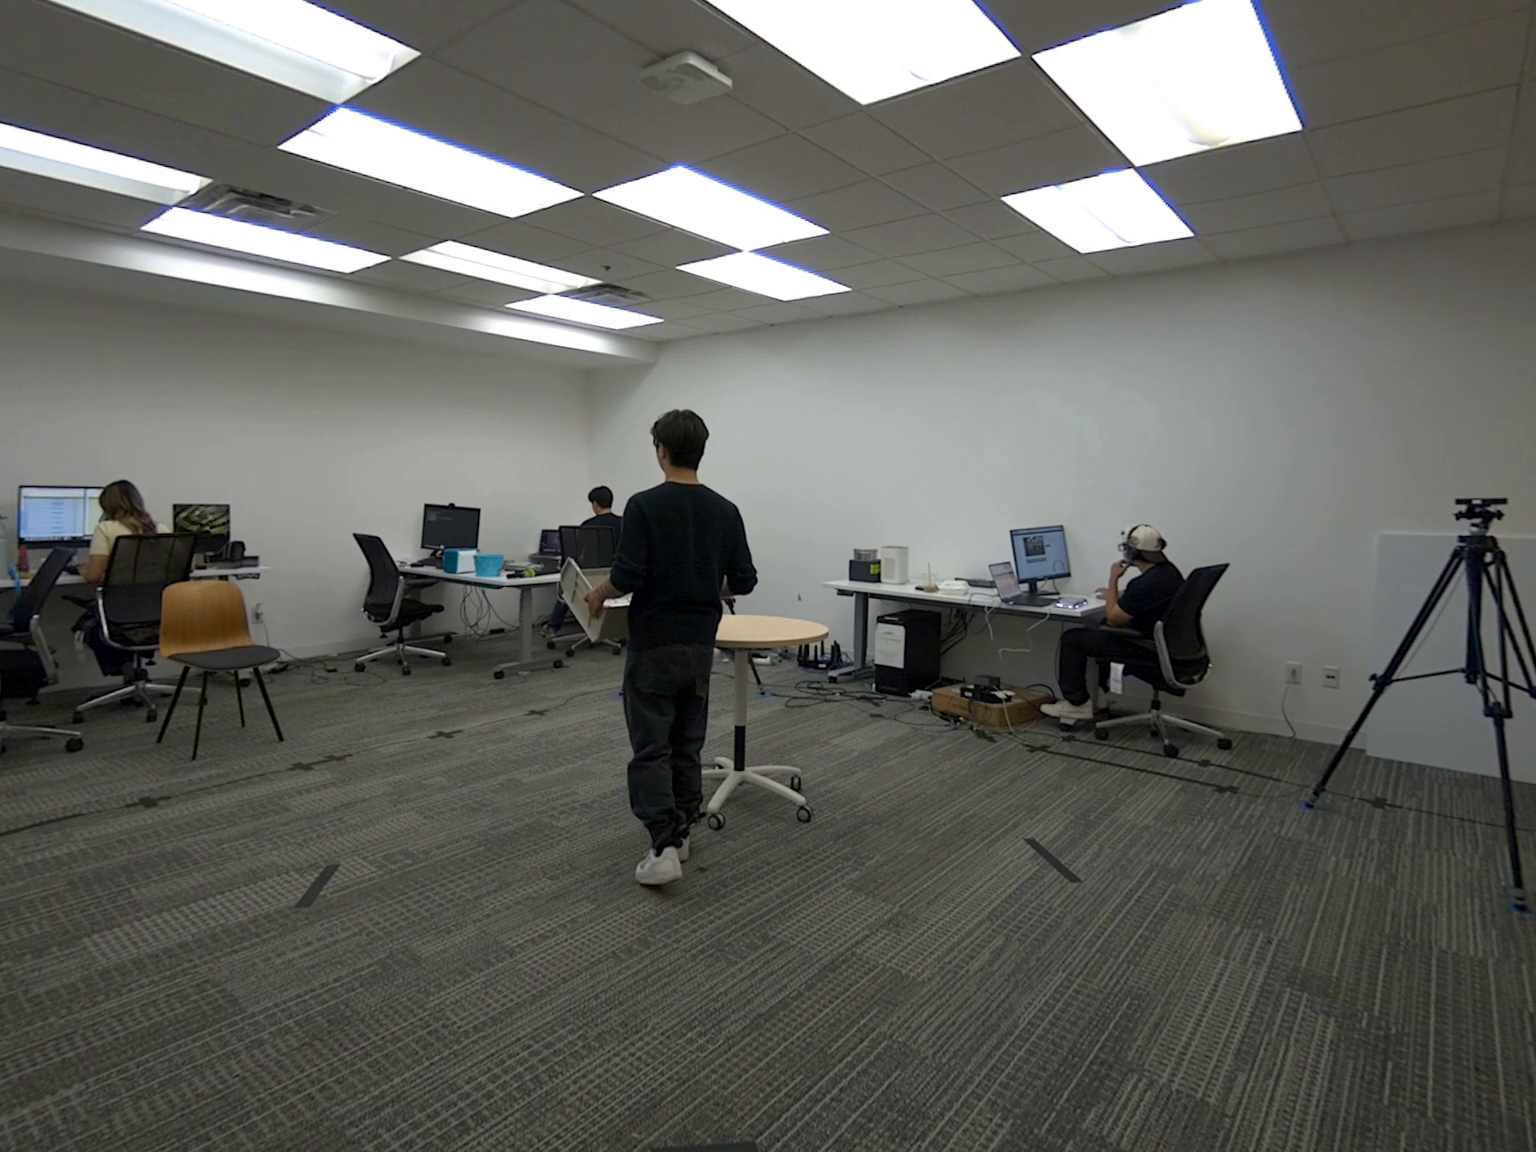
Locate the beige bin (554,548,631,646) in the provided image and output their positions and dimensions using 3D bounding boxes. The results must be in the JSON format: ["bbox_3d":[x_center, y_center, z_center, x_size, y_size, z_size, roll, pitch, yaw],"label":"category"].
[{"bbox_3d":[-0.589,0.068,3.448,0.410,0.186,0.393,-4,36,-38],"label":"beige bin"}]
